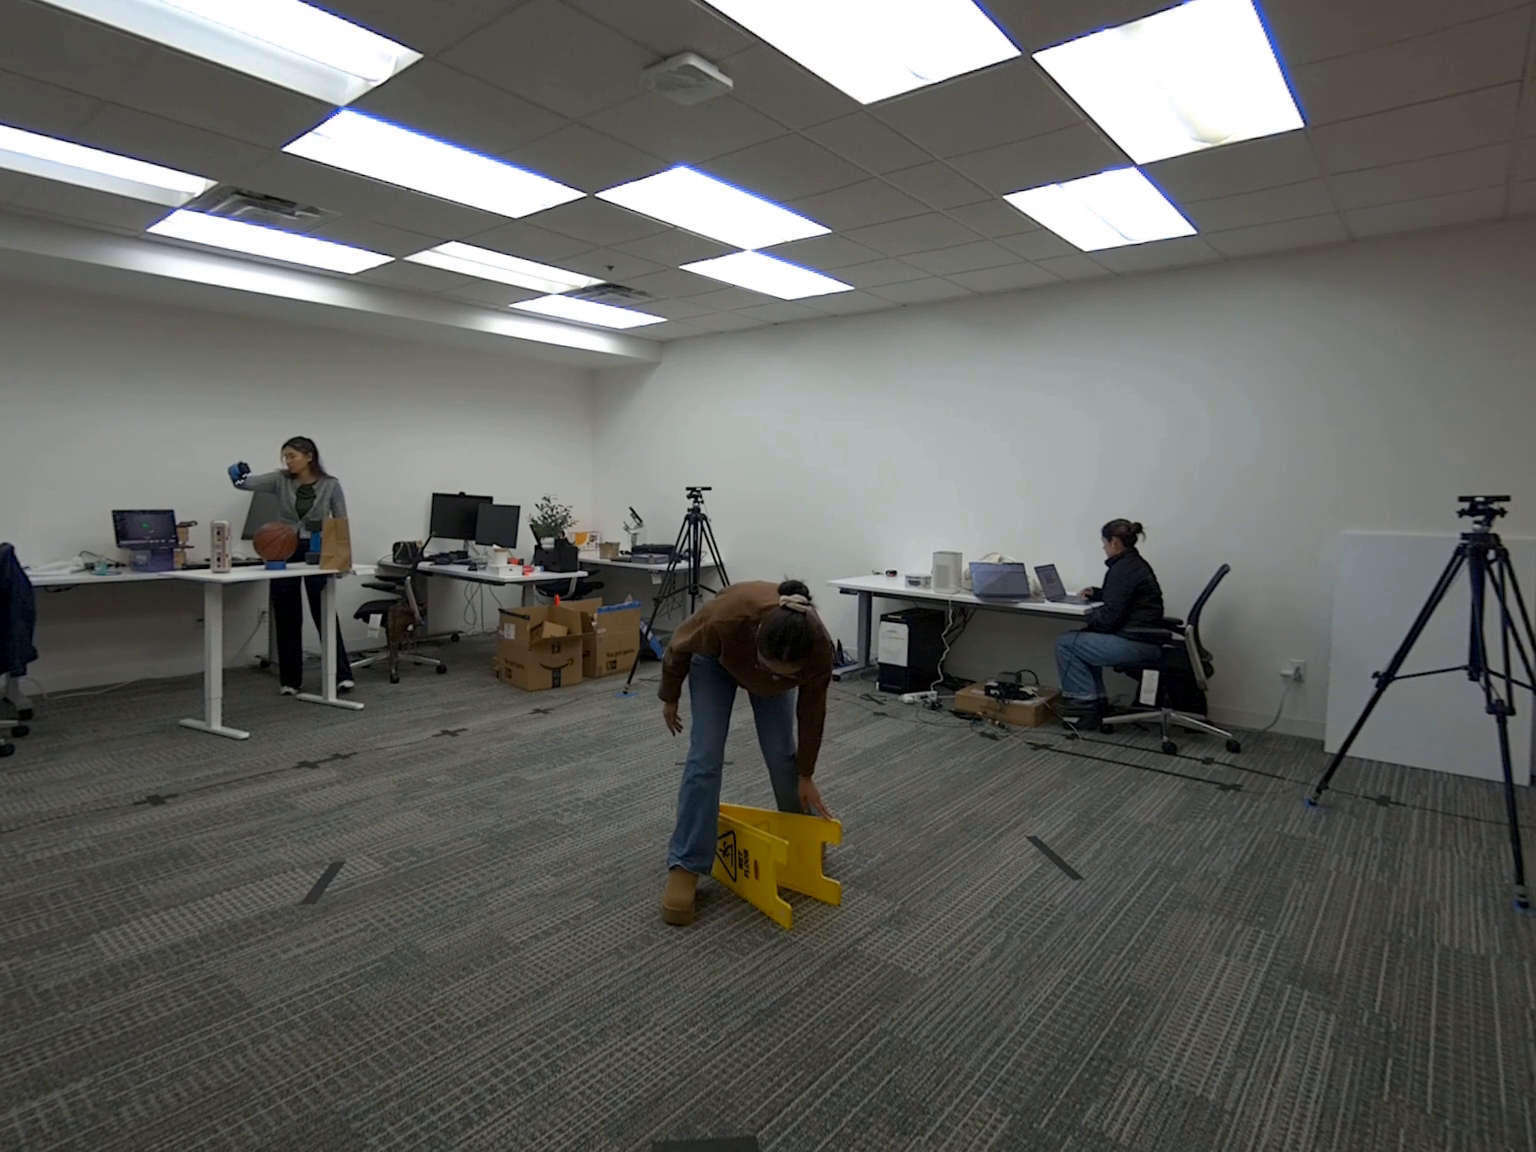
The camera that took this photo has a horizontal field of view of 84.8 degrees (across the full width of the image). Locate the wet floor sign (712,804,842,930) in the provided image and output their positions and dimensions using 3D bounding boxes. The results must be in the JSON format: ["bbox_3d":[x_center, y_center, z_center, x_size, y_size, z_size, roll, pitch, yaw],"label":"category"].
[{"bbox_3d":[-0.092,0.955,2.986,0.667,0.282,0.281,3,4,44],"label":"wet floor sign"}]
